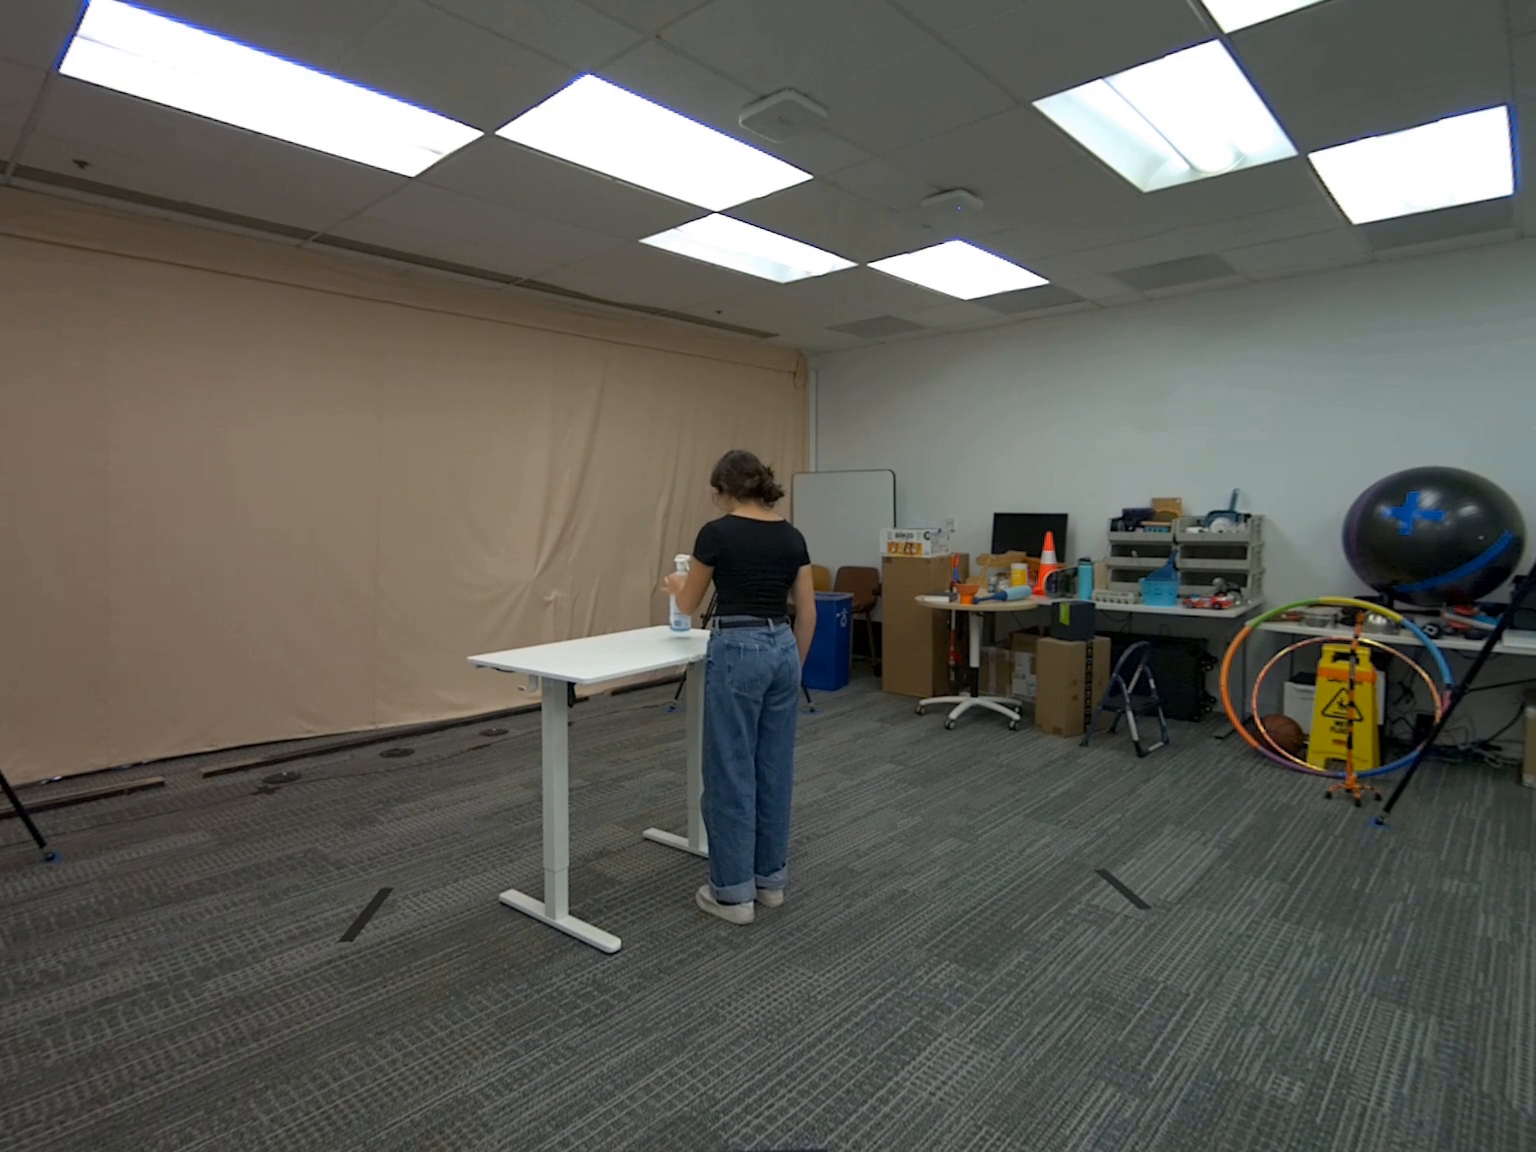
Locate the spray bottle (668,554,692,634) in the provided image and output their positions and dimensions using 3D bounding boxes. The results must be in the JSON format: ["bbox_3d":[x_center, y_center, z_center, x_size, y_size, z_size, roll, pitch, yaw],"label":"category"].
[{"bbox_3d":[-0.335,0.064,3.250,0.086,0.295,0.092,0,11,-15],"label":"spray bottle"}]
